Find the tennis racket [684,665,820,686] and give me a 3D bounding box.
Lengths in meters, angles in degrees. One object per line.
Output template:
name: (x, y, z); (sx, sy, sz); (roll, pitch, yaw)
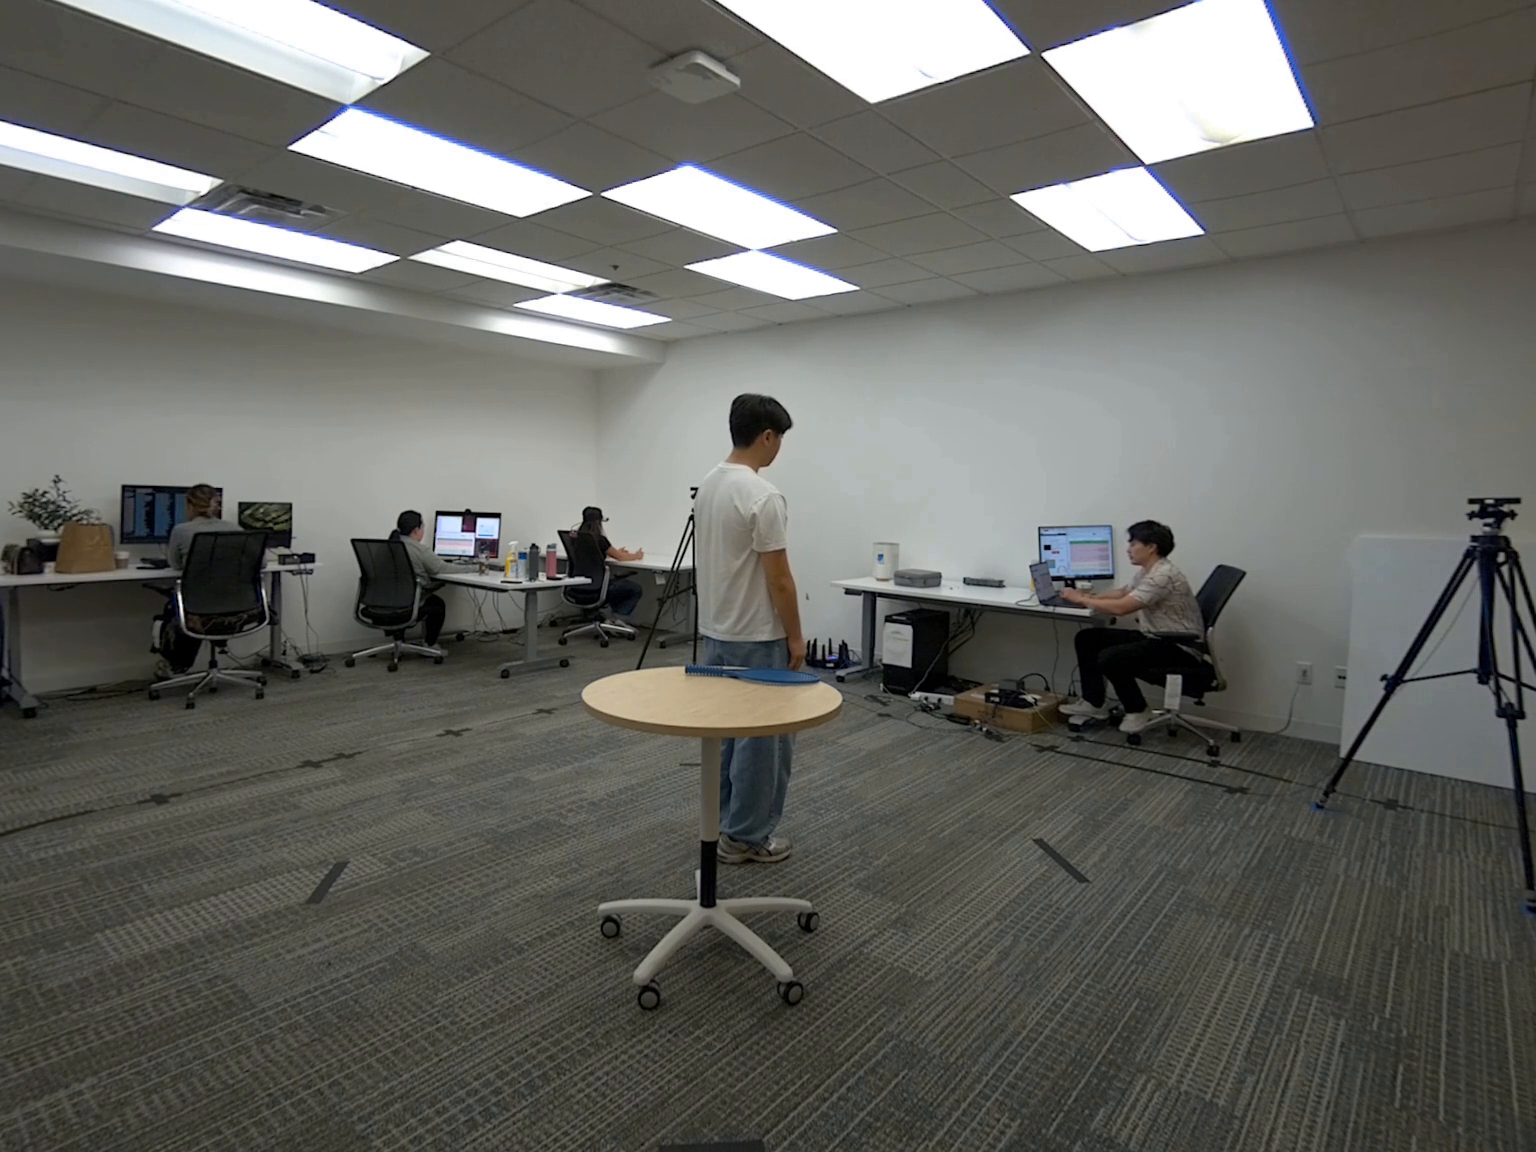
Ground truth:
tennis racket: (-0.068, 0.313, 2.737); (0.435, 0.032, 0.213); (3, 3, 4)
